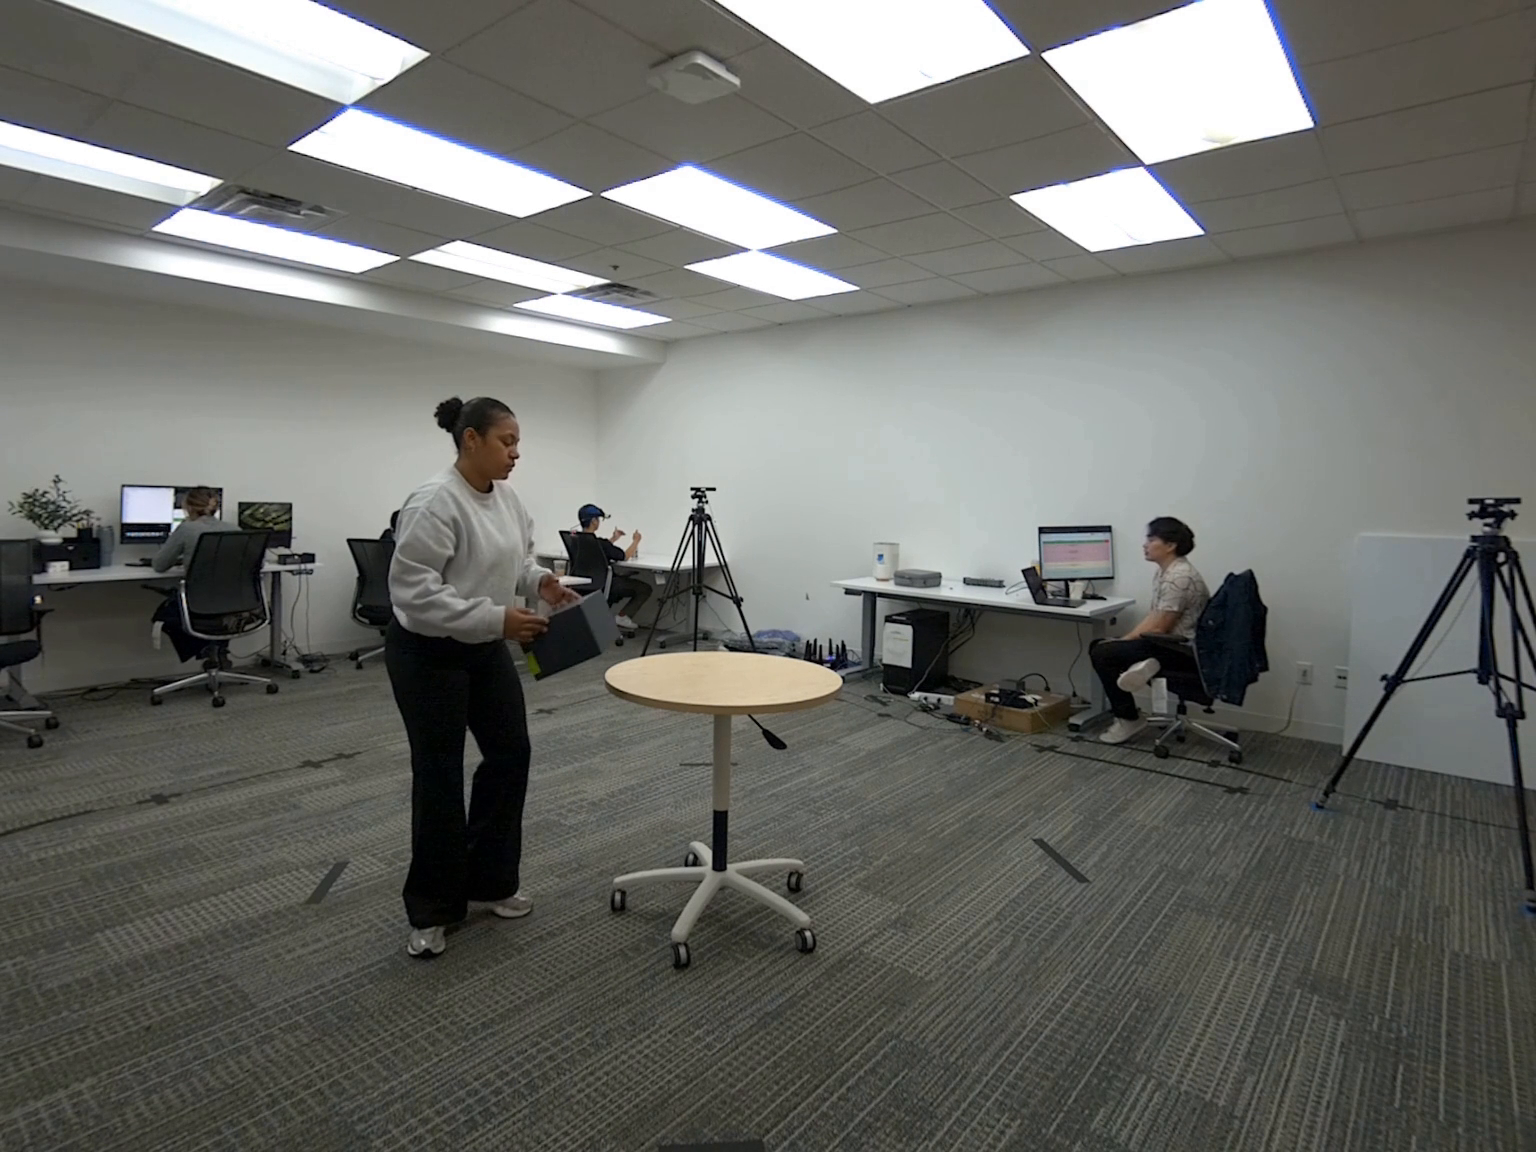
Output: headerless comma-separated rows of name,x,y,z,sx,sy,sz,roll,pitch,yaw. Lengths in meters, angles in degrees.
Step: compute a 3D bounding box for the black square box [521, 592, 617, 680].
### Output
black square box,-0.600,0.182,2.489,0.219,0.155,0.228,-21,8,12
